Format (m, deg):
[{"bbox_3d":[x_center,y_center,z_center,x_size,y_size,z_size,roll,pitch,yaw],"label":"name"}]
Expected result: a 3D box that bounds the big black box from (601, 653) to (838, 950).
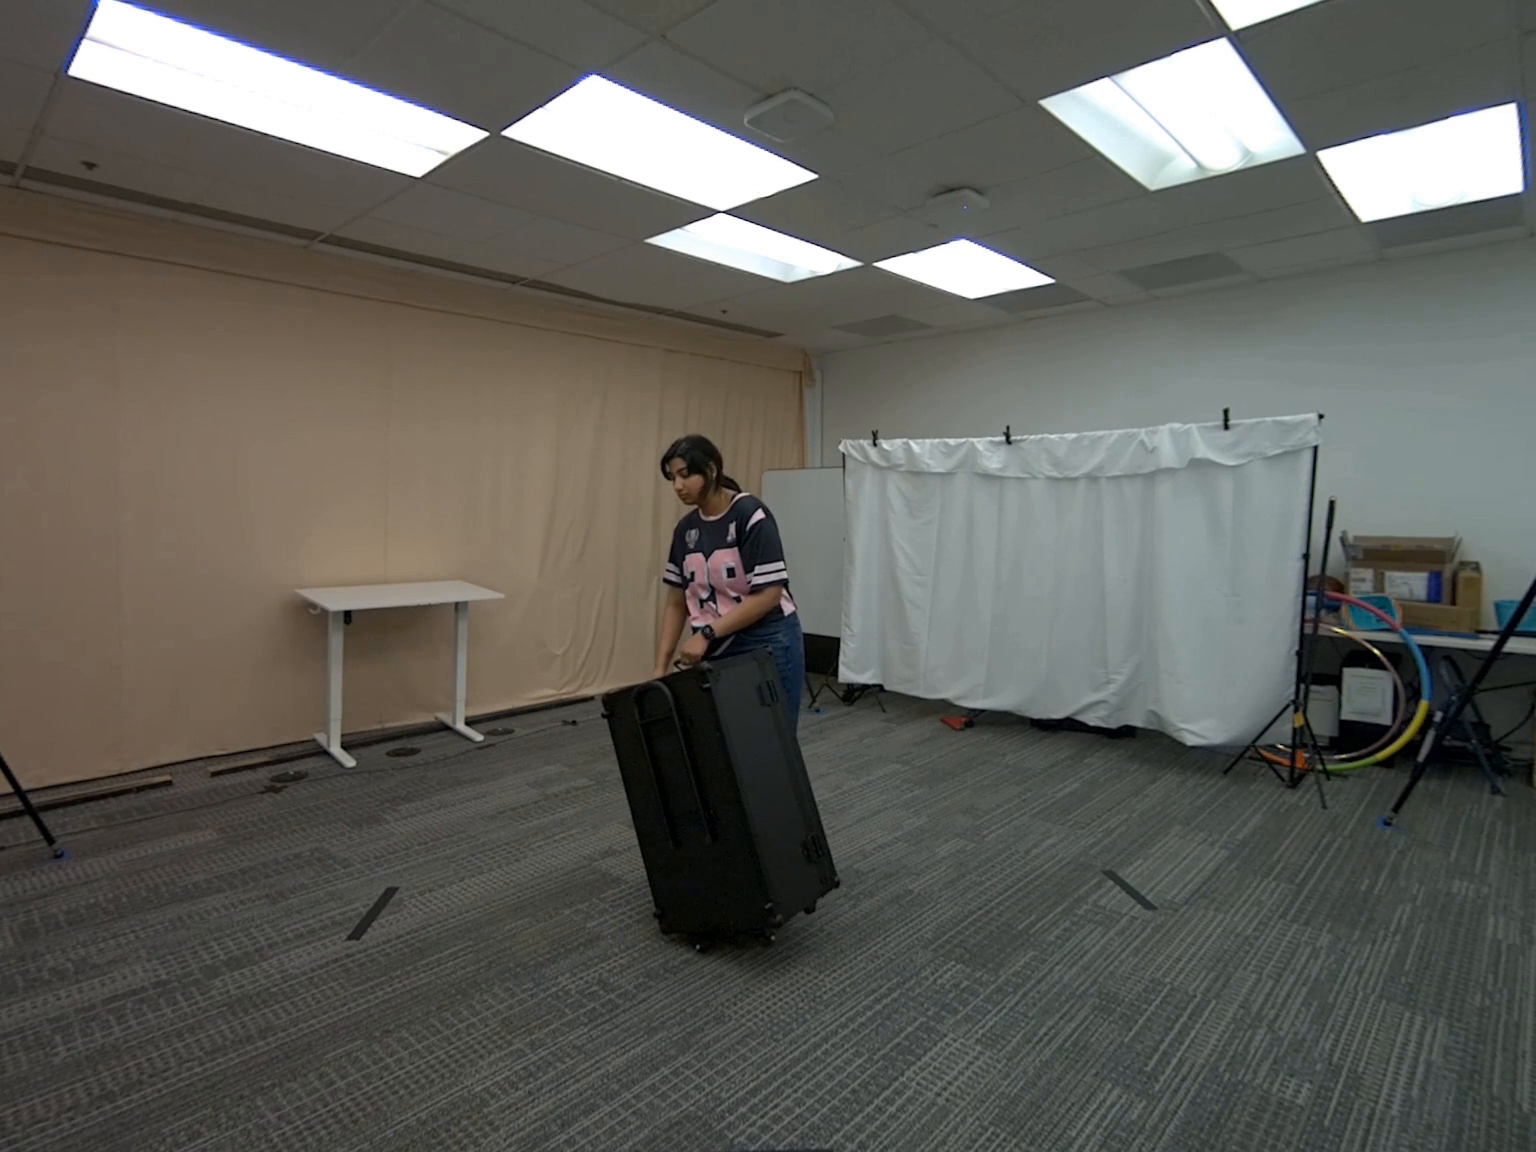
[{"bbox_3d":[-0.147,0.724,2.725,0.534,0.875,0.374,-22,-10,34],"label":"big black box"}]
